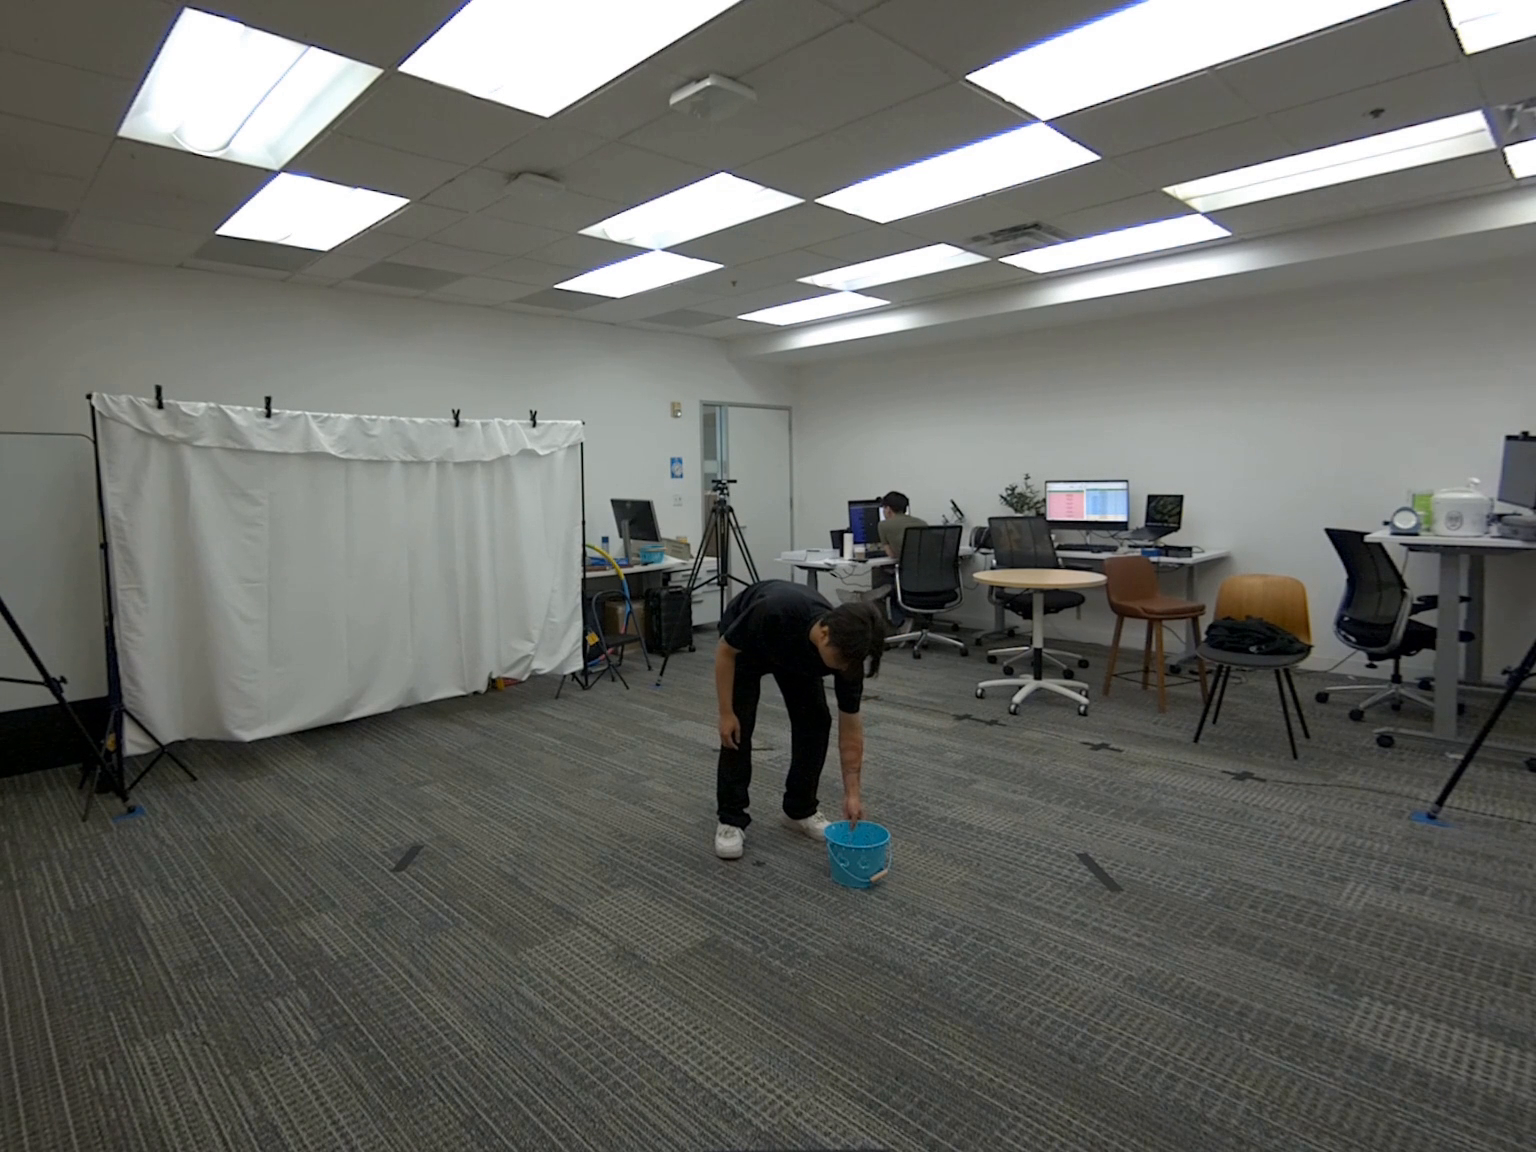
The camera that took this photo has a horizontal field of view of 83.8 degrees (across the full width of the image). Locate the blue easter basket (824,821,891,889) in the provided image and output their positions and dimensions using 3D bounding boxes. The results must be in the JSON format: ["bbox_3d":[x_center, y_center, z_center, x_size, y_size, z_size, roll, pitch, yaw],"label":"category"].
[{"bbox_3d":[0.314,0.978,2.996,0.243,0.155,0.245,-2,5,-2],"label":"blue easter basket"}]
